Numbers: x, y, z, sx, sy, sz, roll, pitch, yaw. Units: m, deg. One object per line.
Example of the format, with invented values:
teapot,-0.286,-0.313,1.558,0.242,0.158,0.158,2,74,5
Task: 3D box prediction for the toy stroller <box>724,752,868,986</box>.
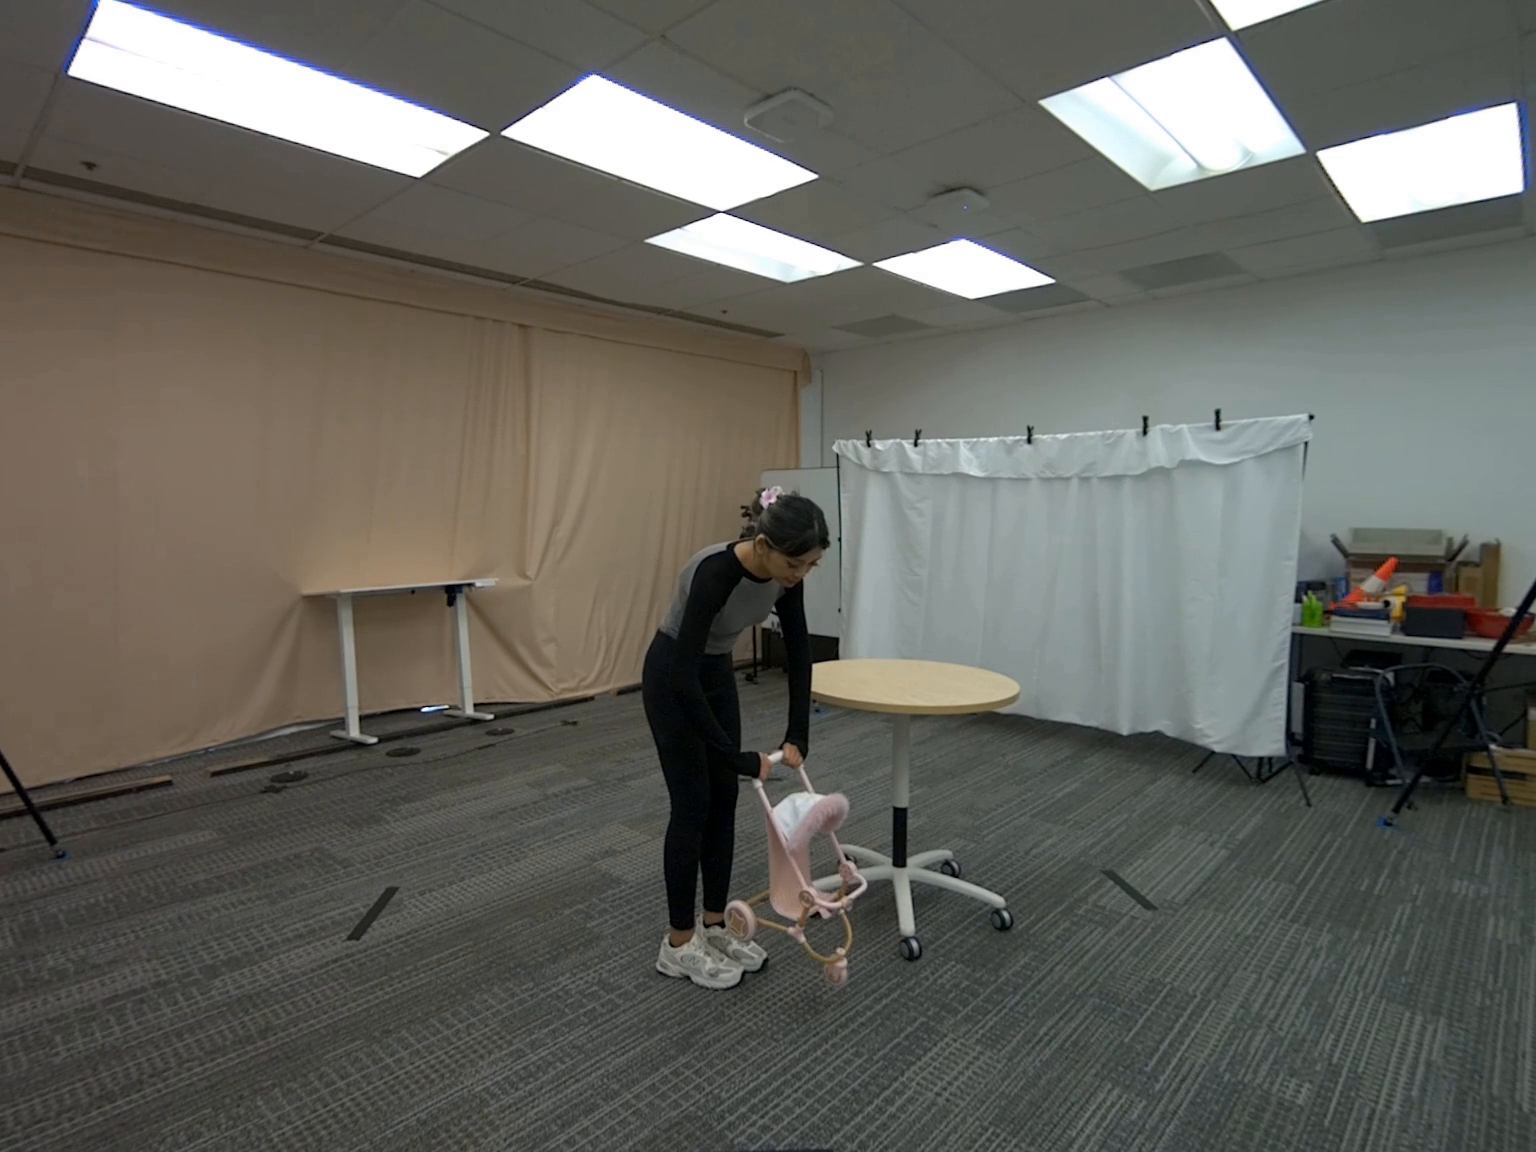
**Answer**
toy stroller,0.109,0.792,2.256,0.354,0.532,0.273,15,13,42
